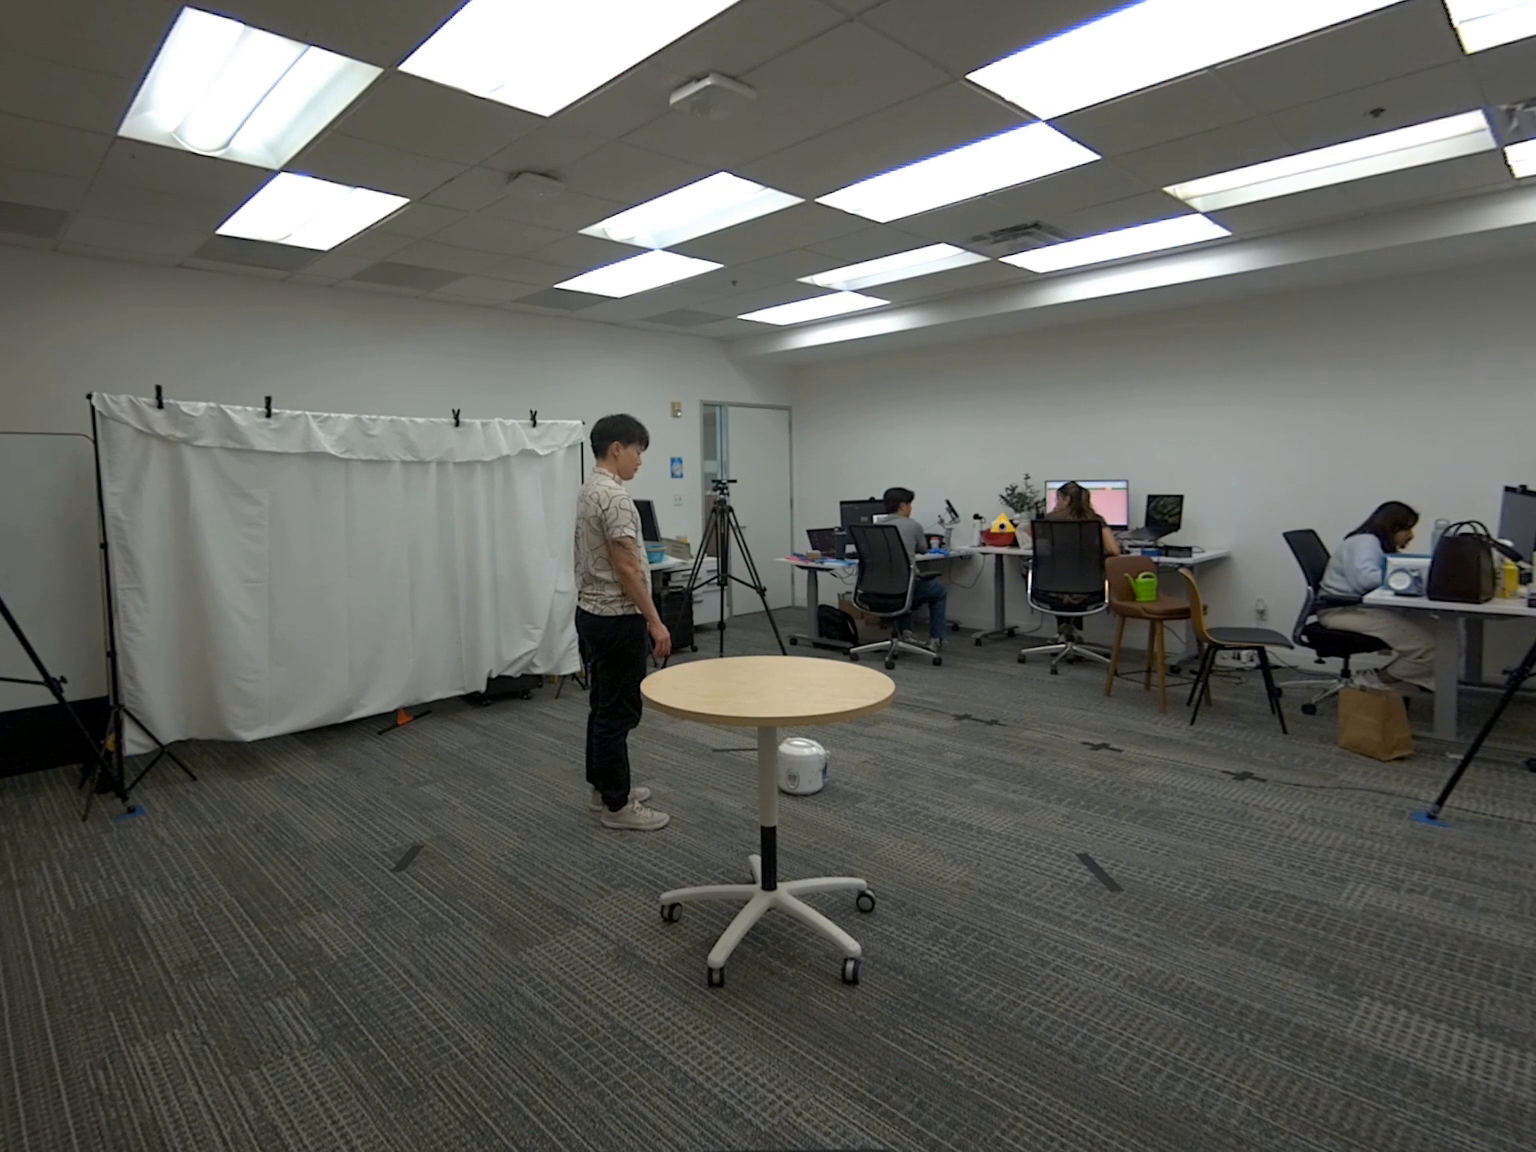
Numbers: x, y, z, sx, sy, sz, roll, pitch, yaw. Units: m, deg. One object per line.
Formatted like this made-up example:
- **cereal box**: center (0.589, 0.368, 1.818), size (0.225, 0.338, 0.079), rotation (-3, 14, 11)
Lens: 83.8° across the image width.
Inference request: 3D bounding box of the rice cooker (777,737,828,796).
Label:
- **rice cooker**: center (0.146, 0.840, 3.836), size (0.225, 0.232, 0.213), rotation (2, 4, 24)
